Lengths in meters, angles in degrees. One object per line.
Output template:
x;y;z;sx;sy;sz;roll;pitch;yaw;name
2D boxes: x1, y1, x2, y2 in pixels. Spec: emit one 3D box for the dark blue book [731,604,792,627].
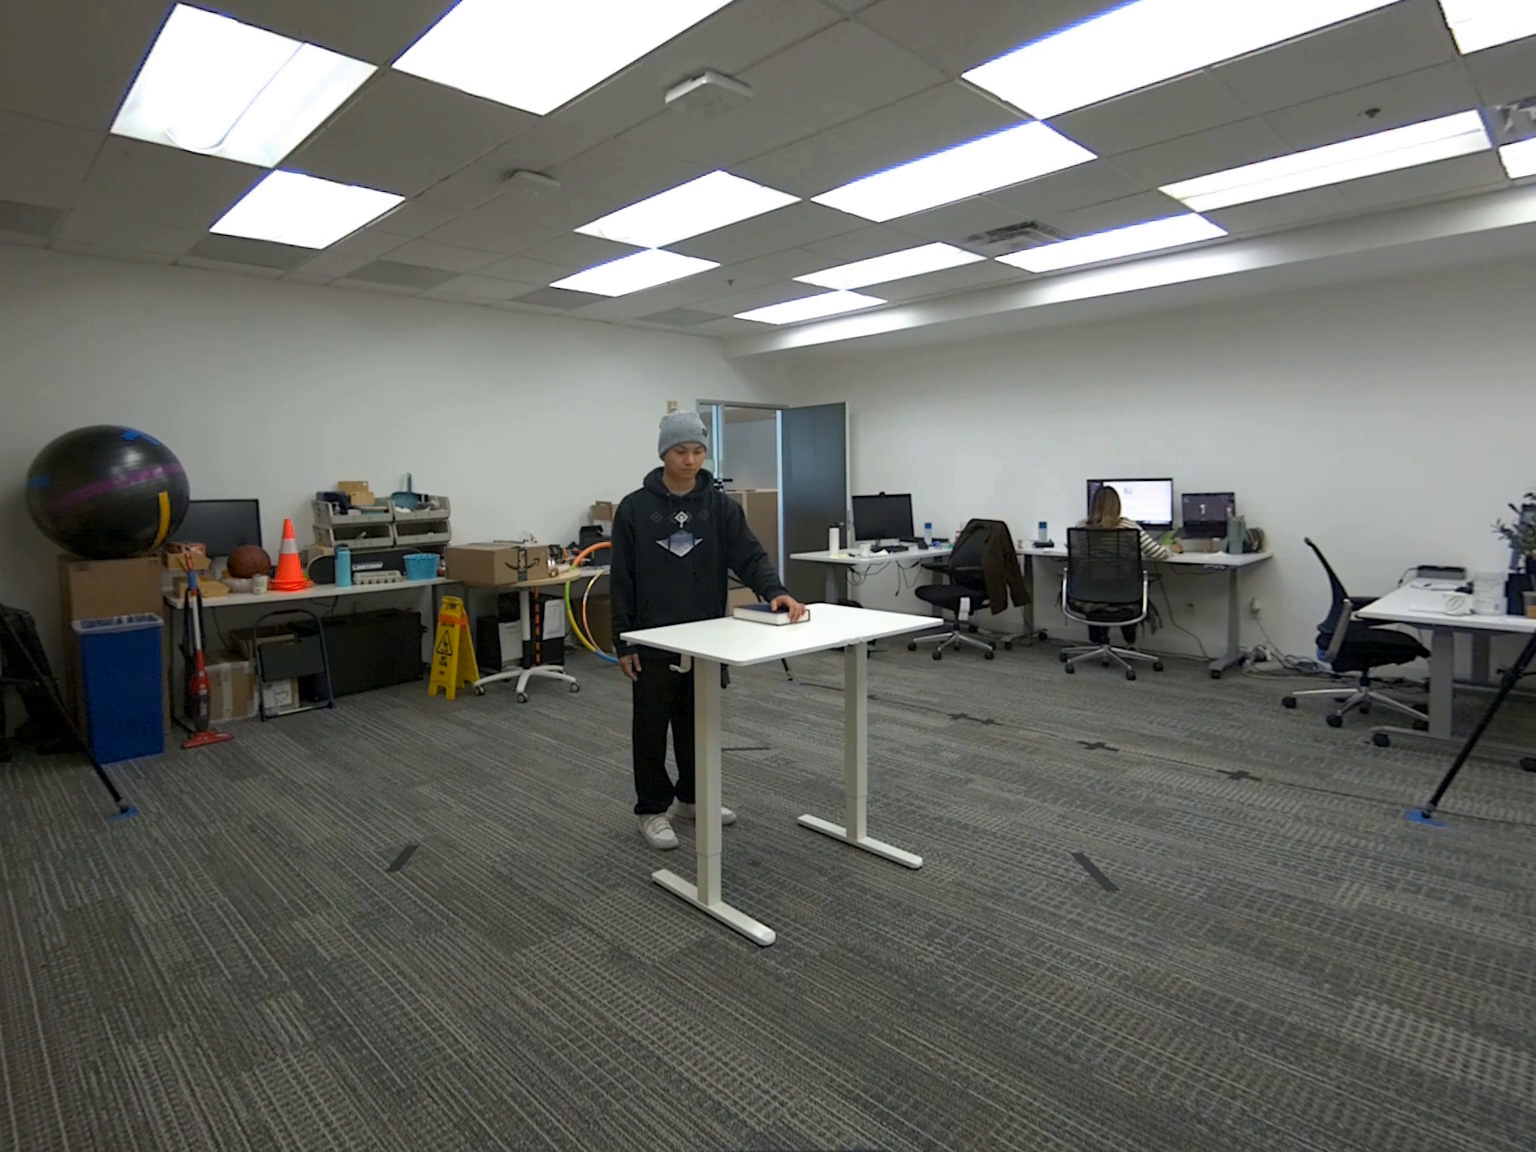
0.002;0.140;3.123;0.159;0.045;0.253;-5;8;-41;dark blue book
